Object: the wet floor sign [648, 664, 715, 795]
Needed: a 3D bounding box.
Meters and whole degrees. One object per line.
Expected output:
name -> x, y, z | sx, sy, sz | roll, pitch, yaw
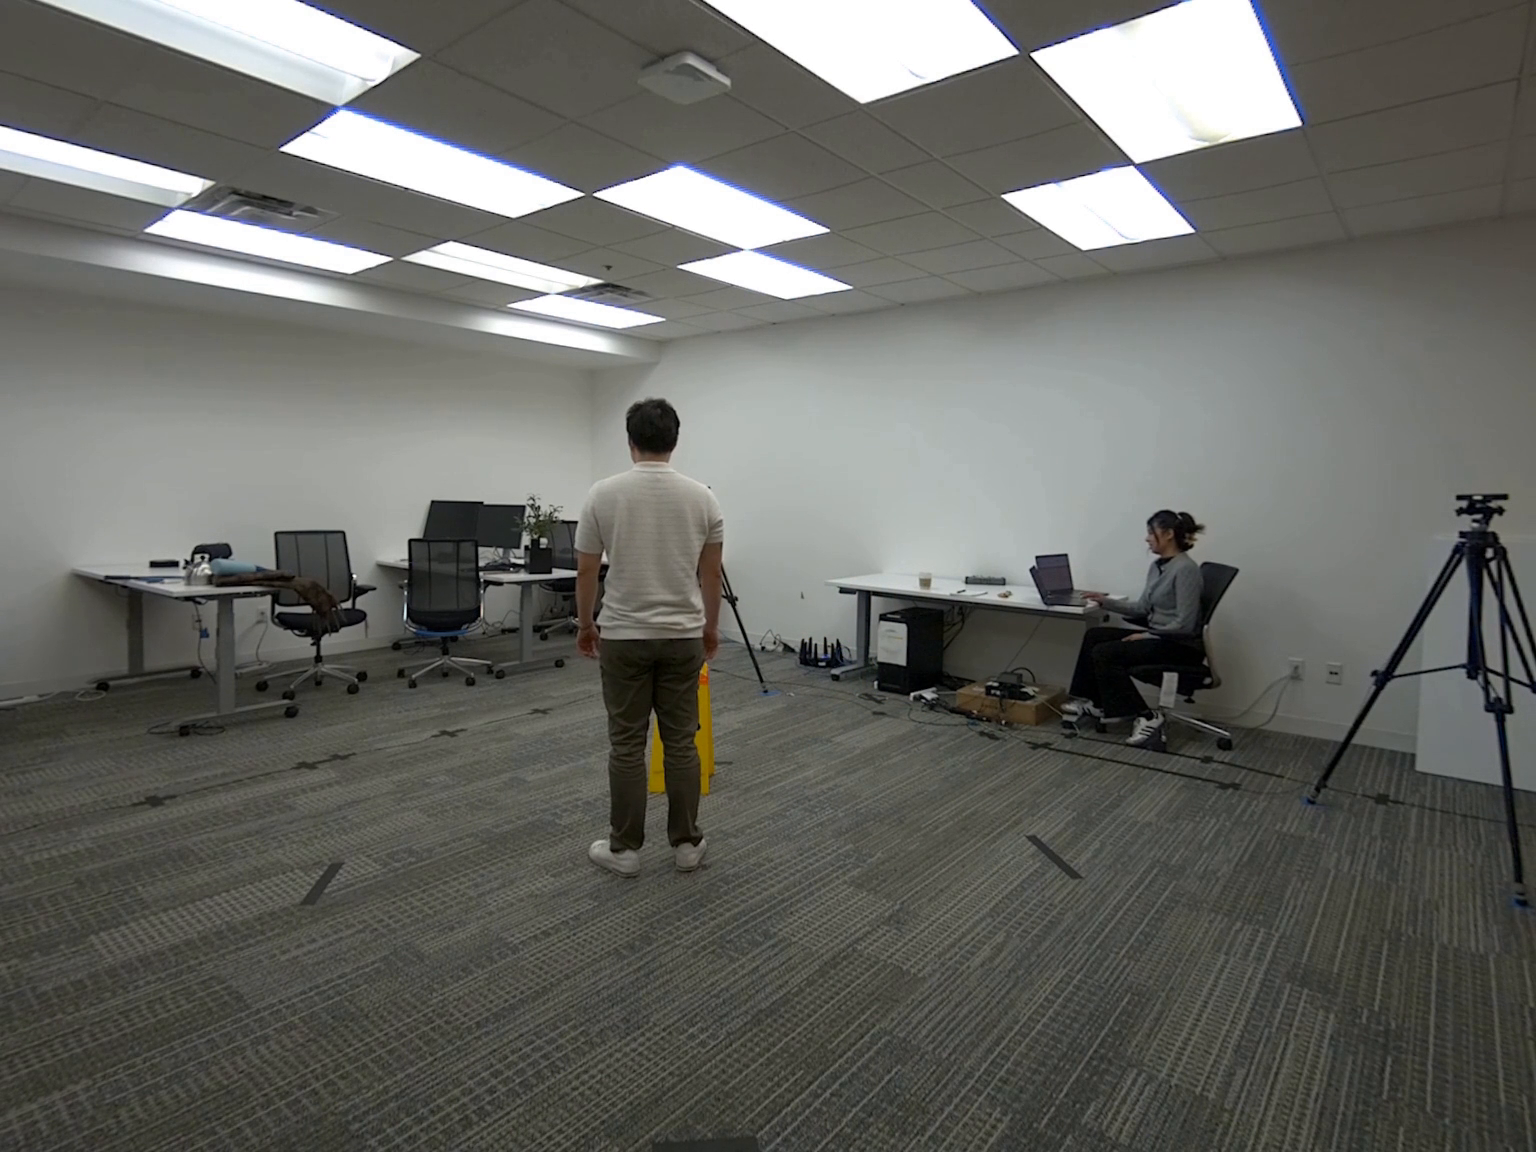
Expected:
wet floor sign -> -0.409, 0.648, 4.004 | 0.284, 0.644, 0.289 | 0, 3, 4
